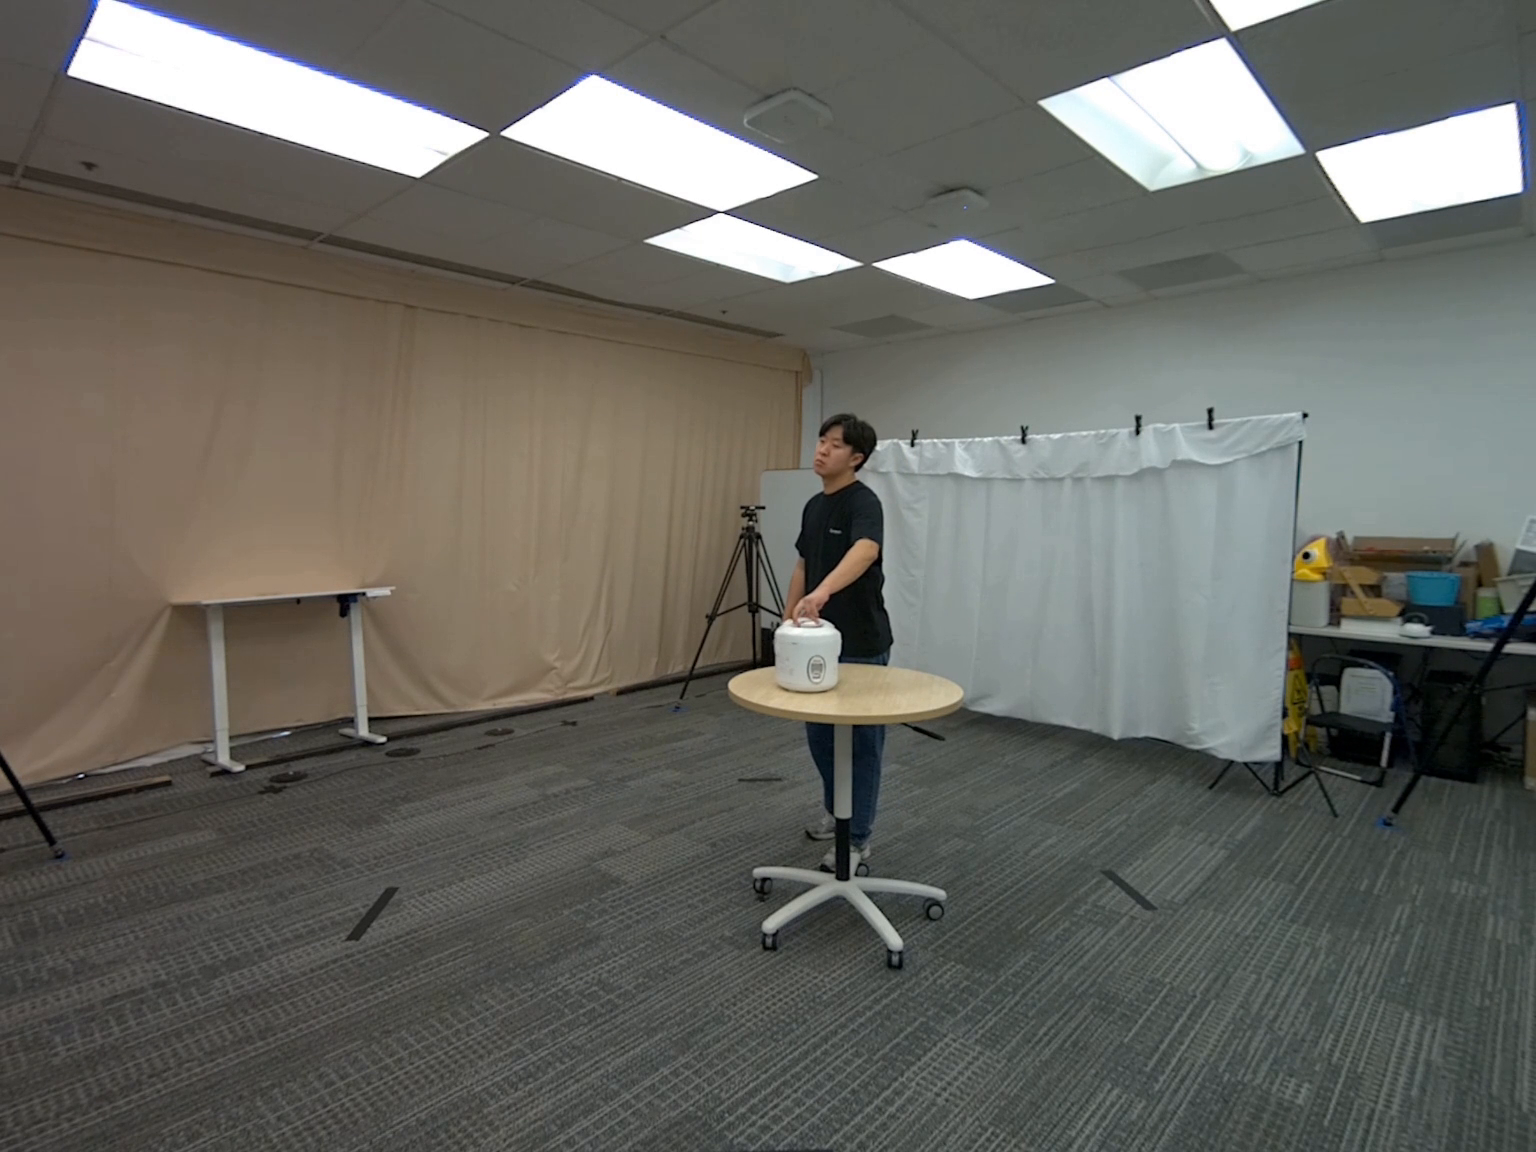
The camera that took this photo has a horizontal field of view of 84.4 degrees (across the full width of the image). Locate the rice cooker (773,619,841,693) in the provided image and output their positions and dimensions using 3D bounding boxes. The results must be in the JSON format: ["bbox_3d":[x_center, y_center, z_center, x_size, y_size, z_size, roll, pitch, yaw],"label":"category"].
[{"bbox_3d":[0.129,0.251,2.758,0.218,0.232,0.220,-2,4,-12],"label":"rice cooker"}]
